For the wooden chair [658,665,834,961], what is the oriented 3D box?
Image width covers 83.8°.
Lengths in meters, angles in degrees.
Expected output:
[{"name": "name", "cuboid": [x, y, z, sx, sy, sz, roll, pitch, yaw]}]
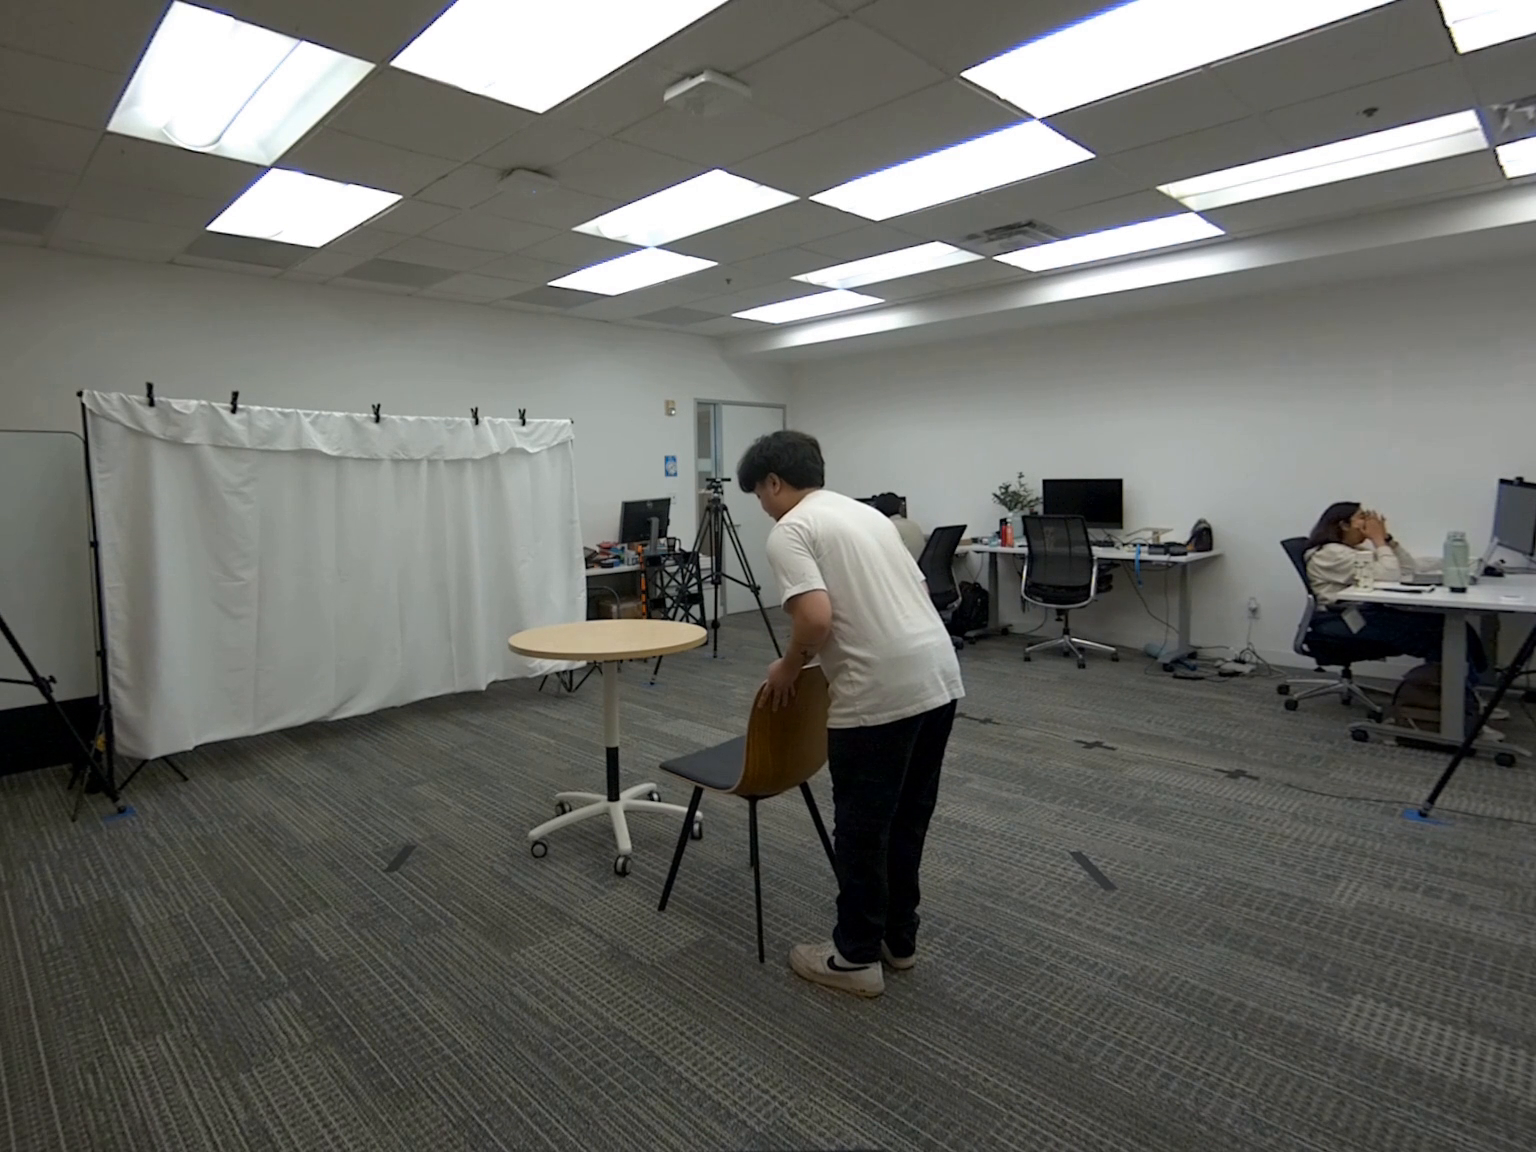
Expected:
[{"name": "wooden chair", "cuboid": [-0.053, 0.656, 2.751, 0.540, 0.872, 0.466, 9, 10, 43]}]
